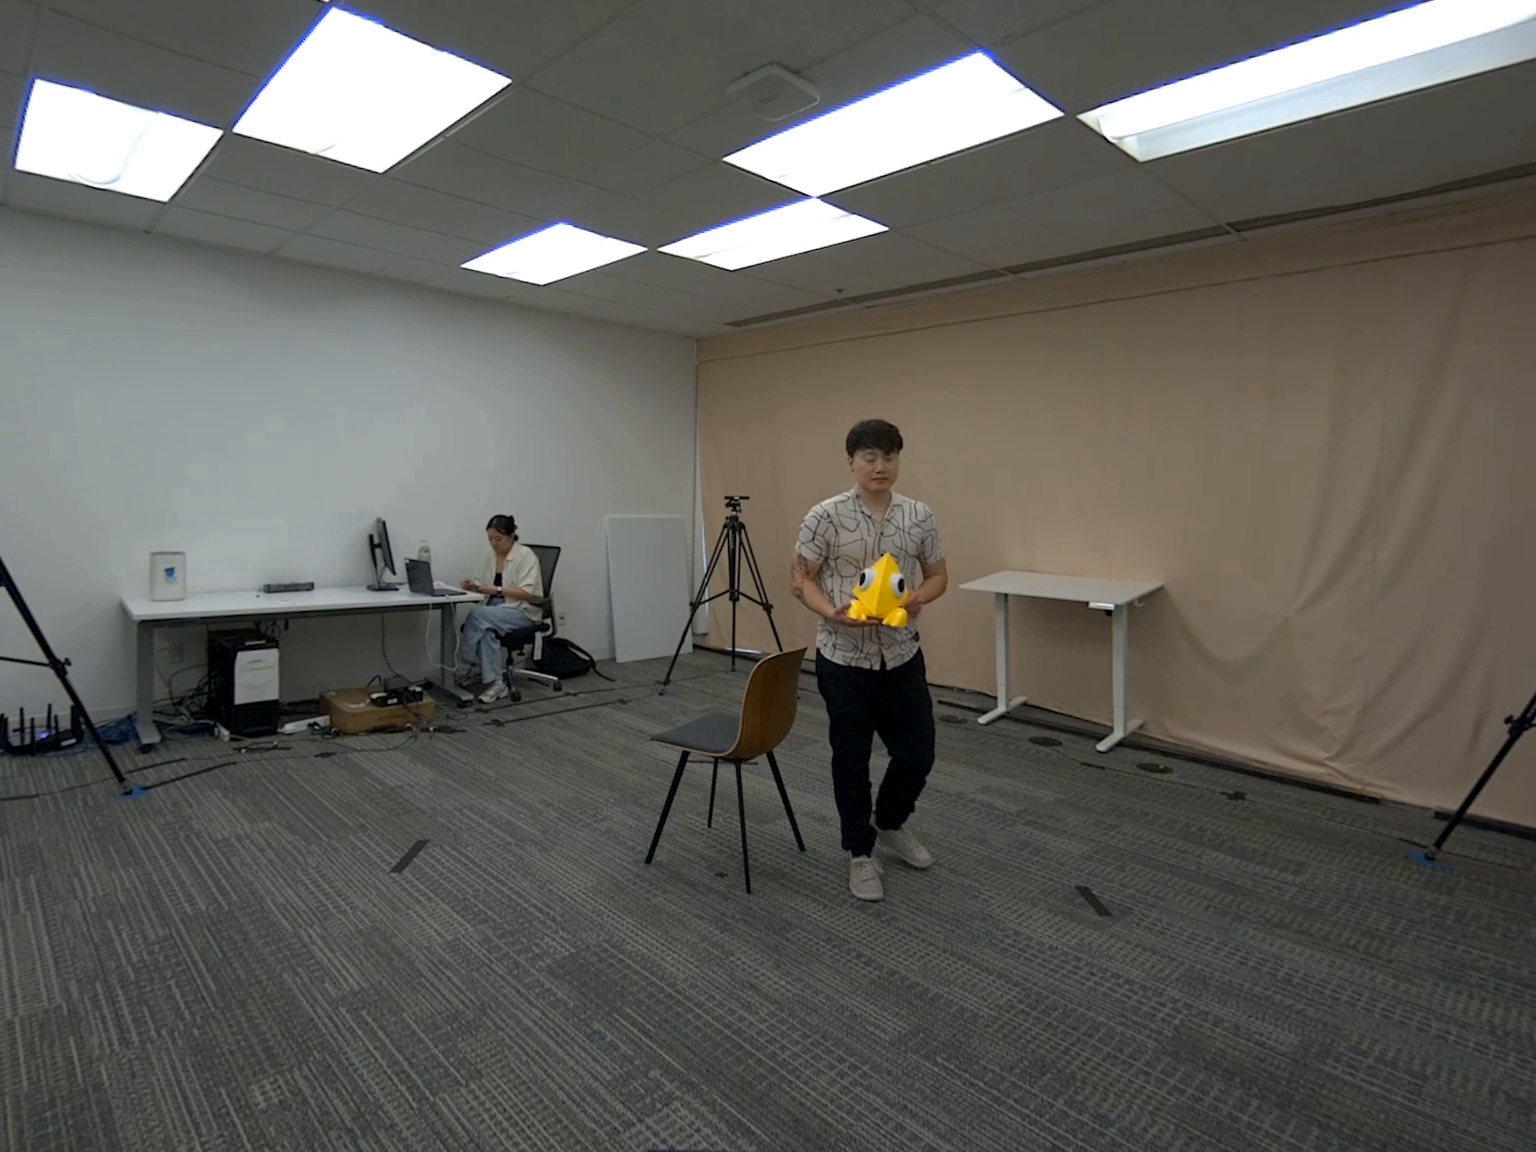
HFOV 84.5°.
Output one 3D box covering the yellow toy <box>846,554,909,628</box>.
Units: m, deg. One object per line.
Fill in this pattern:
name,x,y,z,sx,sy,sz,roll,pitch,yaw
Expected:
yellow toy,0.370,0.038,2.798,0.207,0.230,0.191,9,2,14
